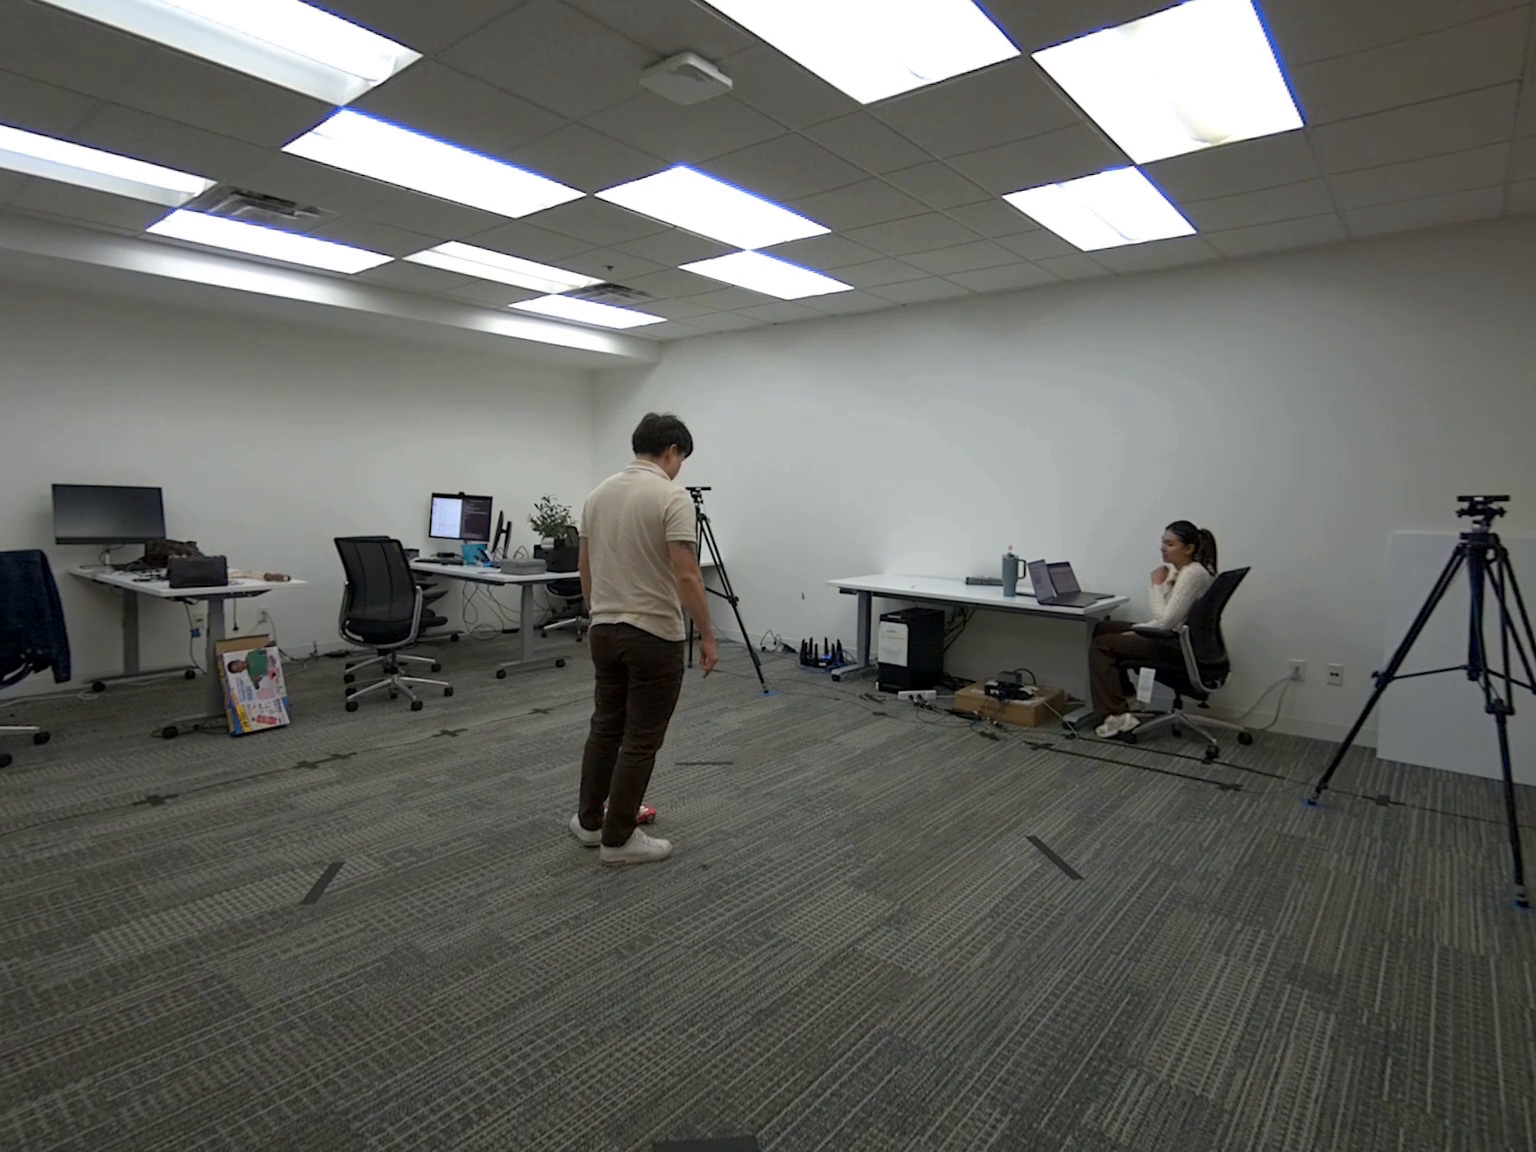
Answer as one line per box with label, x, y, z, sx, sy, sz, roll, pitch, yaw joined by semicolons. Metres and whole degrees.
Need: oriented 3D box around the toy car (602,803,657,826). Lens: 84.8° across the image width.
toy car;-0.604;0.988;3.505;0.247;0.083;0.134;10;-2;-29
